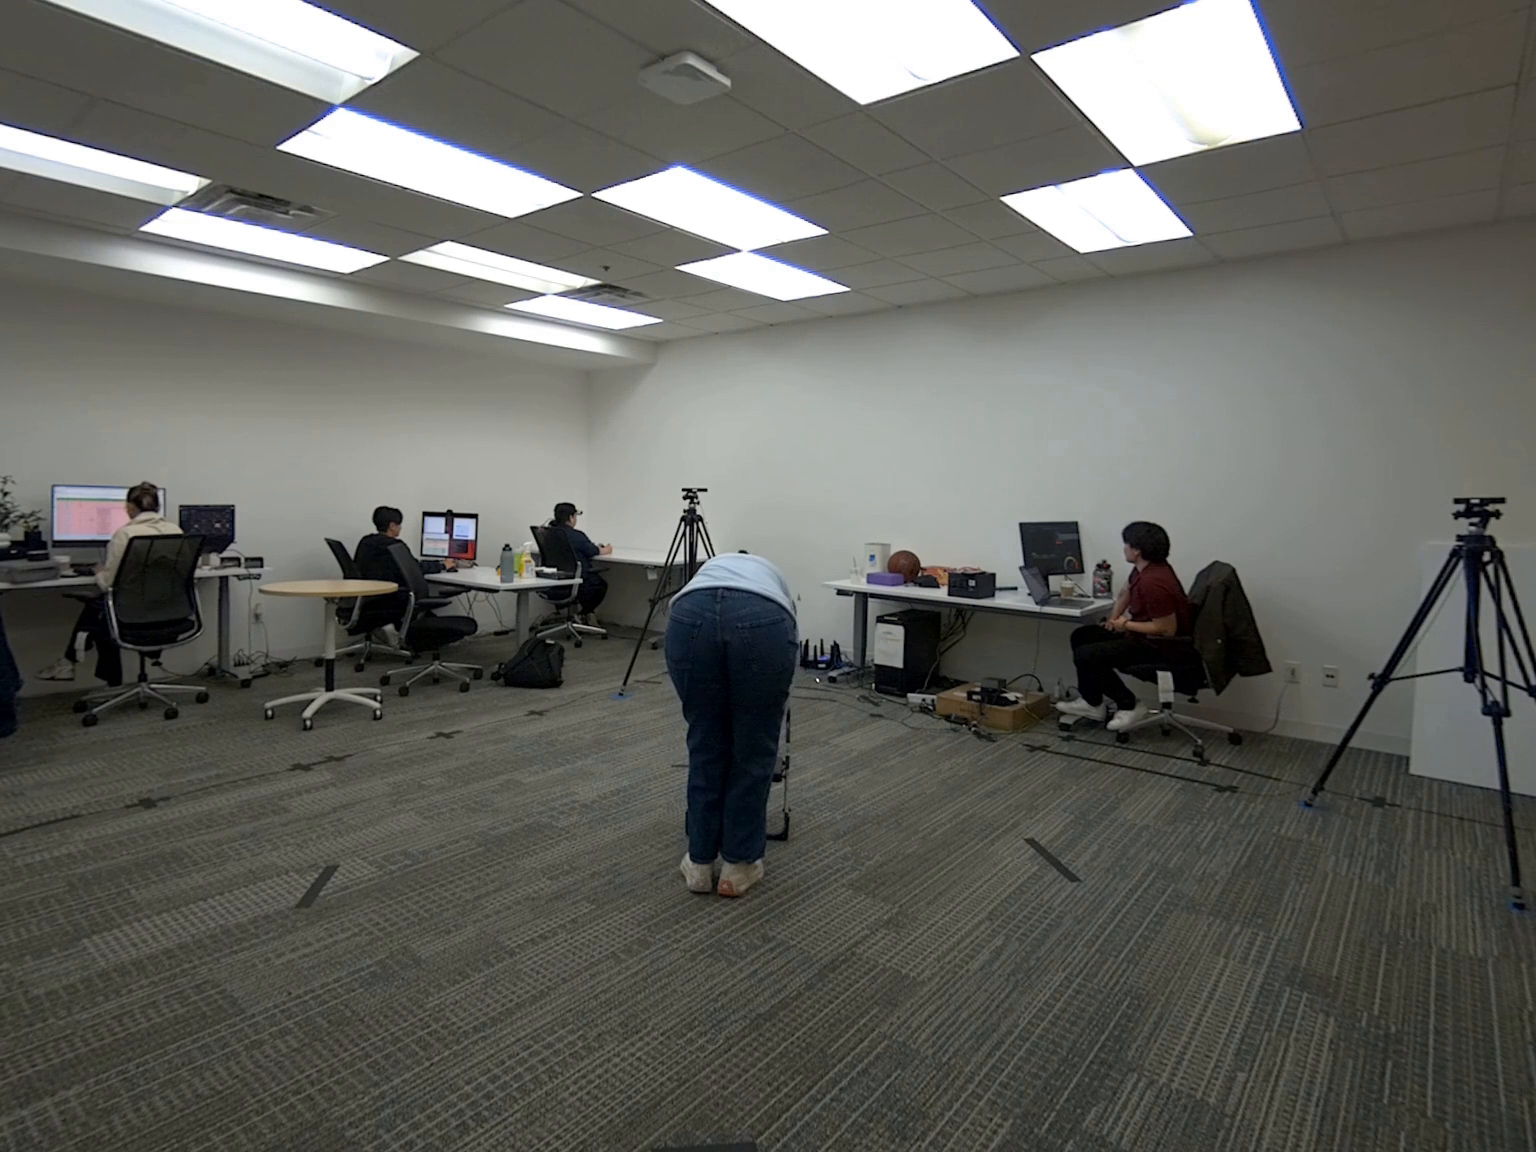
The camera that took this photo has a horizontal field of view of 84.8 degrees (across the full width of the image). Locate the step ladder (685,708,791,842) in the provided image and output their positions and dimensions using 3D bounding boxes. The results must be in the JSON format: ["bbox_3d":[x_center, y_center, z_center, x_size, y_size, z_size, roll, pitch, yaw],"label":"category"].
[{"bbox_3d":[-0.123,0.723,3.550,0.433,0.604,0.349,1,3,4],"label":"step ladder"}]
